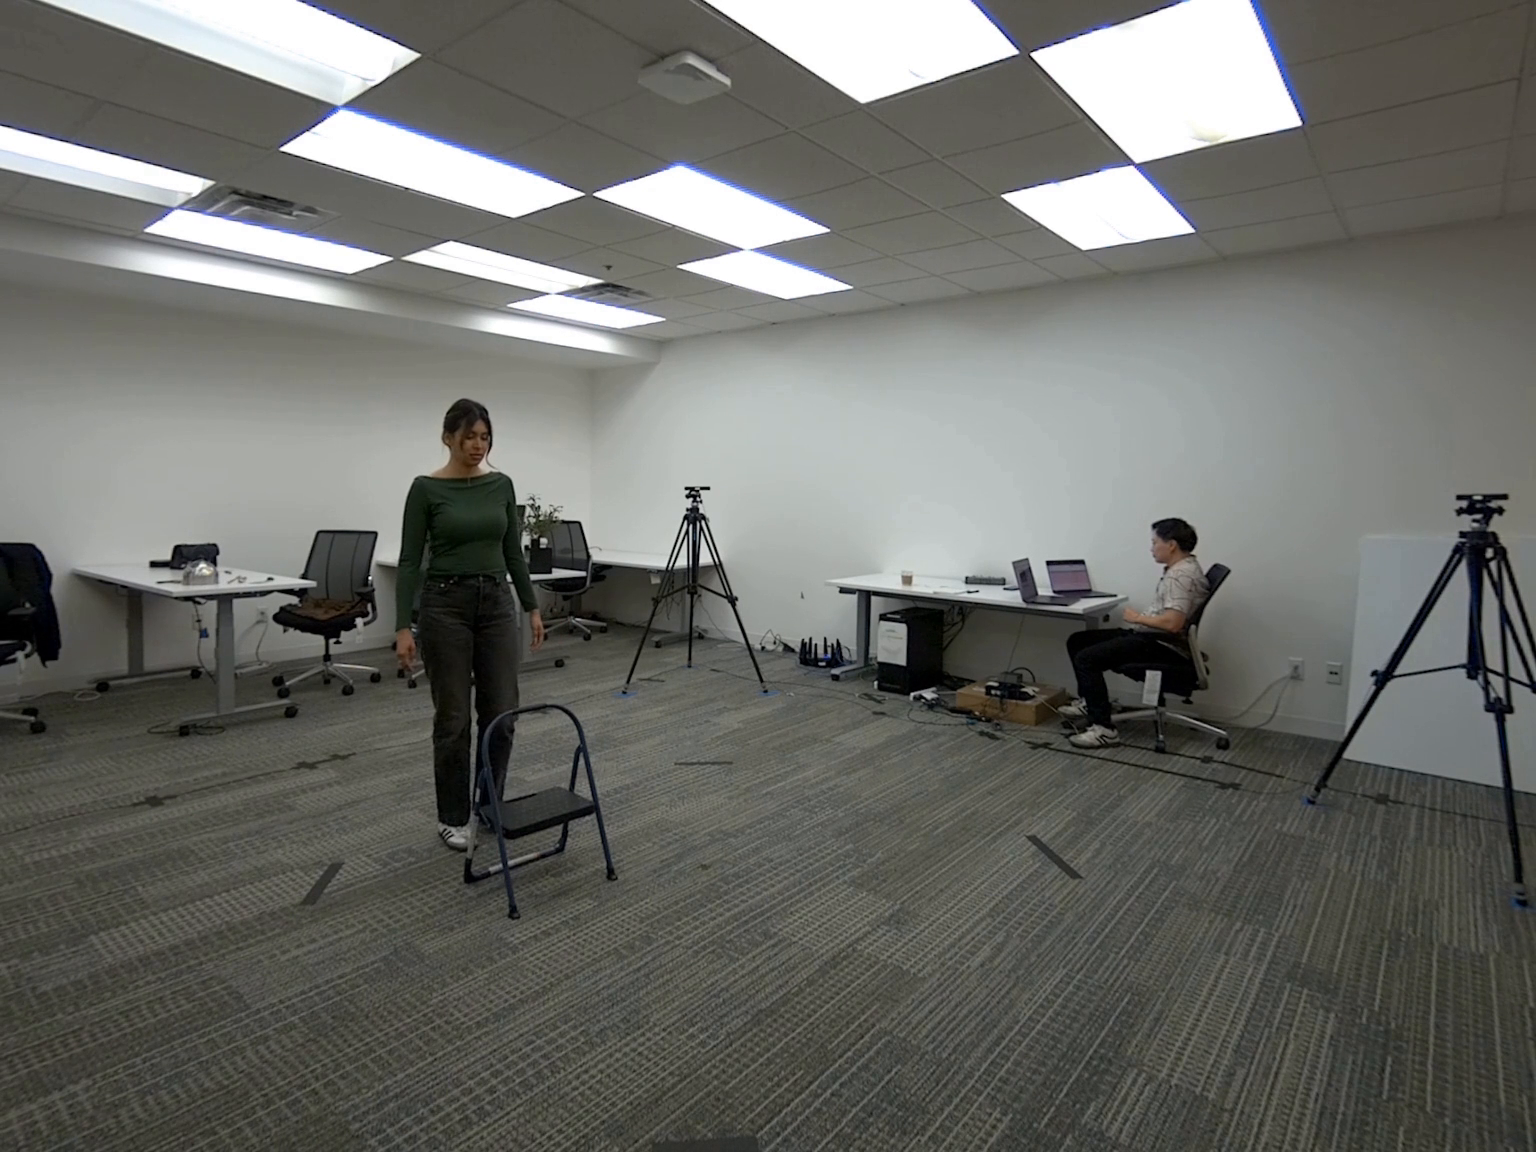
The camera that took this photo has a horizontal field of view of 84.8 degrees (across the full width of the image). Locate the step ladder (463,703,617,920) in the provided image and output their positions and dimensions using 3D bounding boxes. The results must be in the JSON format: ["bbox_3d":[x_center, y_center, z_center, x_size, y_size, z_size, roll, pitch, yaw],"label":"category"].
[{"bbox_3d":[-0.806,0.767,2.974,0.361,0.604,0.417,3,4,43],"label":"step ladder"}]
